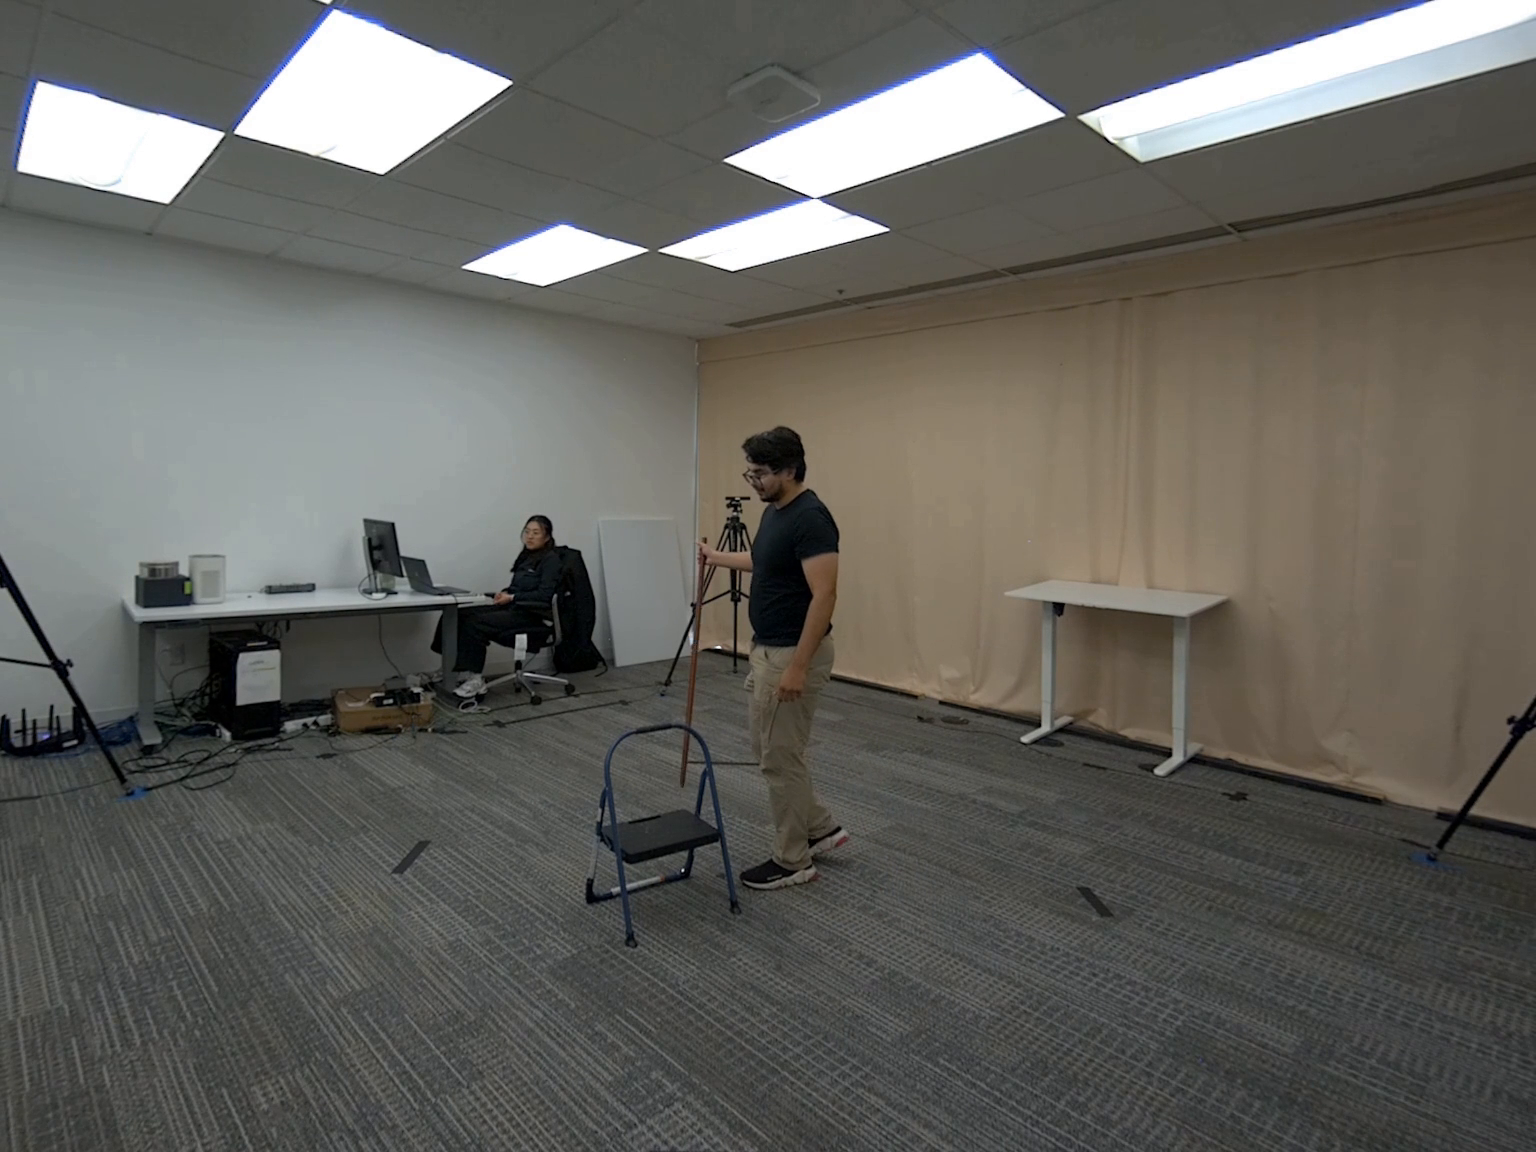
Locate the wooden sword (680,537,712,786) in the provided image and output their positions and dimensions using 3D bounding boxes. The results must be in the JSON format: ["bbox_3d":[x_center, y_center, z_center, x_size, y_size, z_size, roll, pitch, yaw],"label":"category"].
[{"bbox_3d":[-0.310,0.364,3.495,0.051,1.032,0.024,5,-11,-1],"label":"wooden sword"}]
